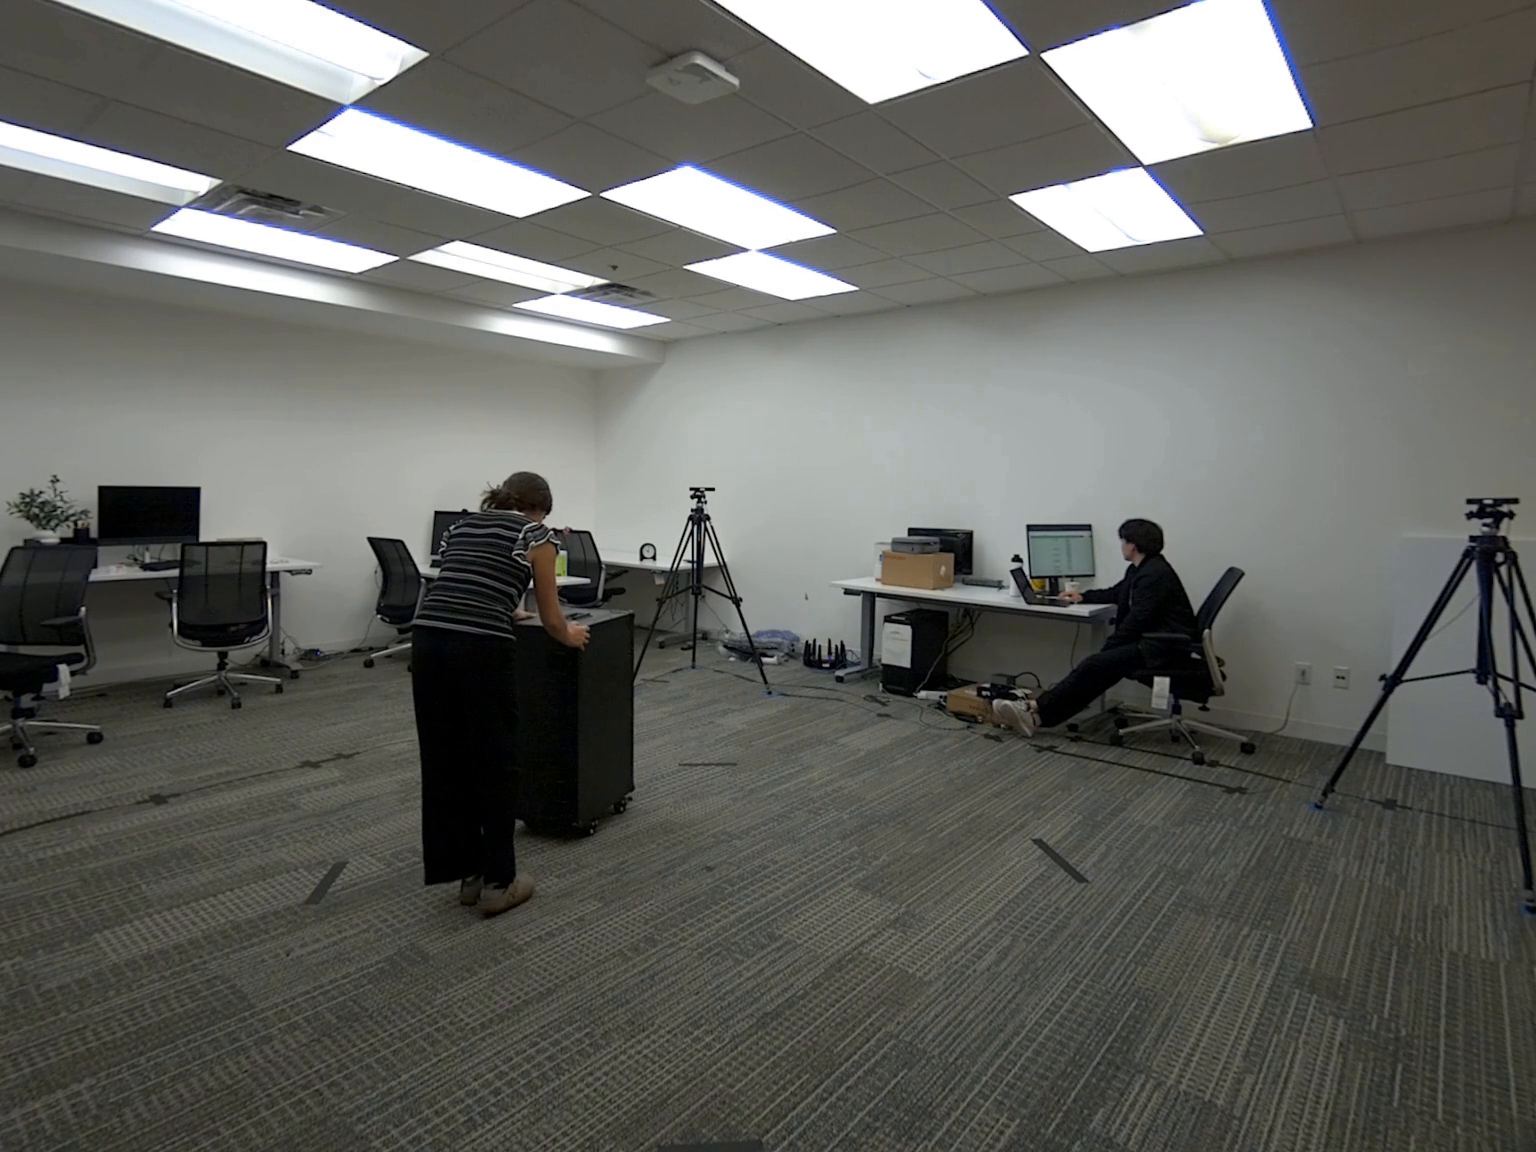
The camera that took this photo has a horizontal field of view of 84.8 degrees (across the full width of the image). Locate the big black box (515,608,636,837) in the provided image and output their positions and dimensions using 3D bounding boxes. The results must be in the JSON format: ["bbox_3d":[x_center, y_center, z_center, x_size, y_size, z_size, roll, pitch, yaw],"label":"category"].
[{"bbox_3d":[-0.838,0.594,3.529,0.405,0.859,0.512,1,3,20],"label":"big black box"}]
